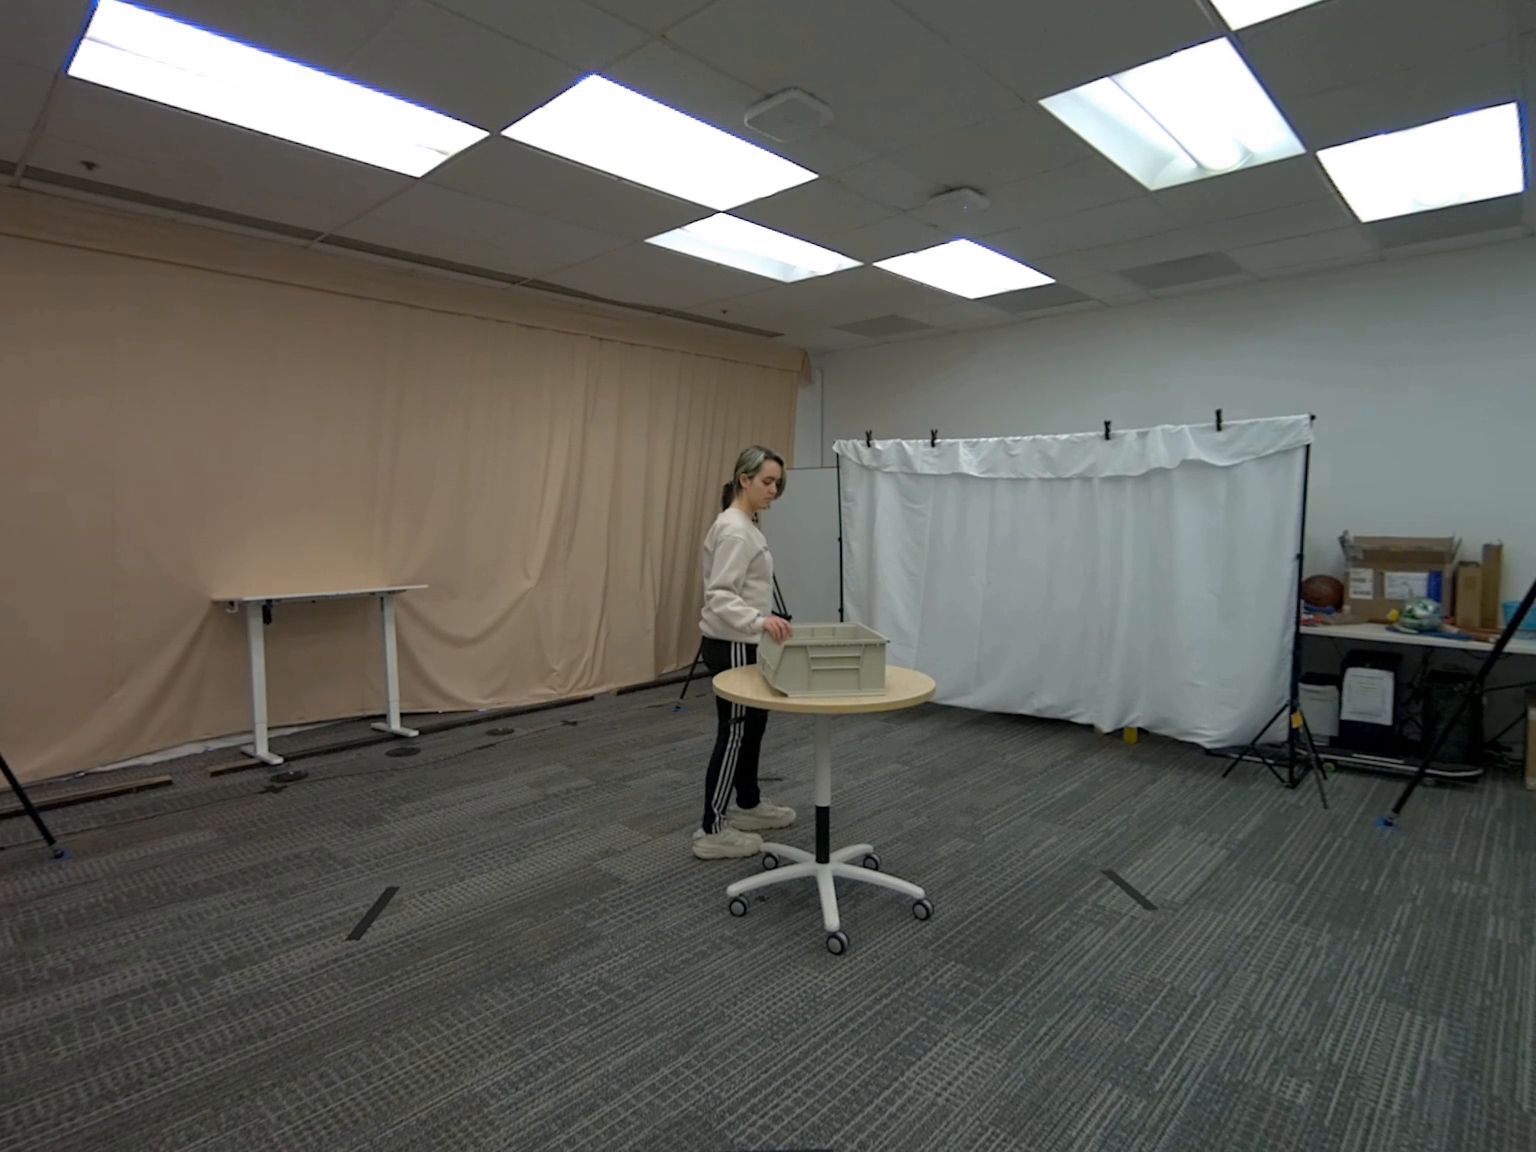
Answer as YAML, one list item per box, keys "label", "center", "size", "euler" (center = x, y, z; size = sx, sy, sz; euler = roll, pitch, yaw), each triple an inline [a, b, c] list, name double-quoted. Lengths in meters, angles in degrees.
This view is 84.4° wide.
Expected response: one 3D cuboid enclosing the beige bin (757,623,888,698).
- label: "beige bin"
  center: [0.173, 0.278, 2.858]
  size: [0.376, 0.188, 0.425]
  euler: [1, 4, -5]
